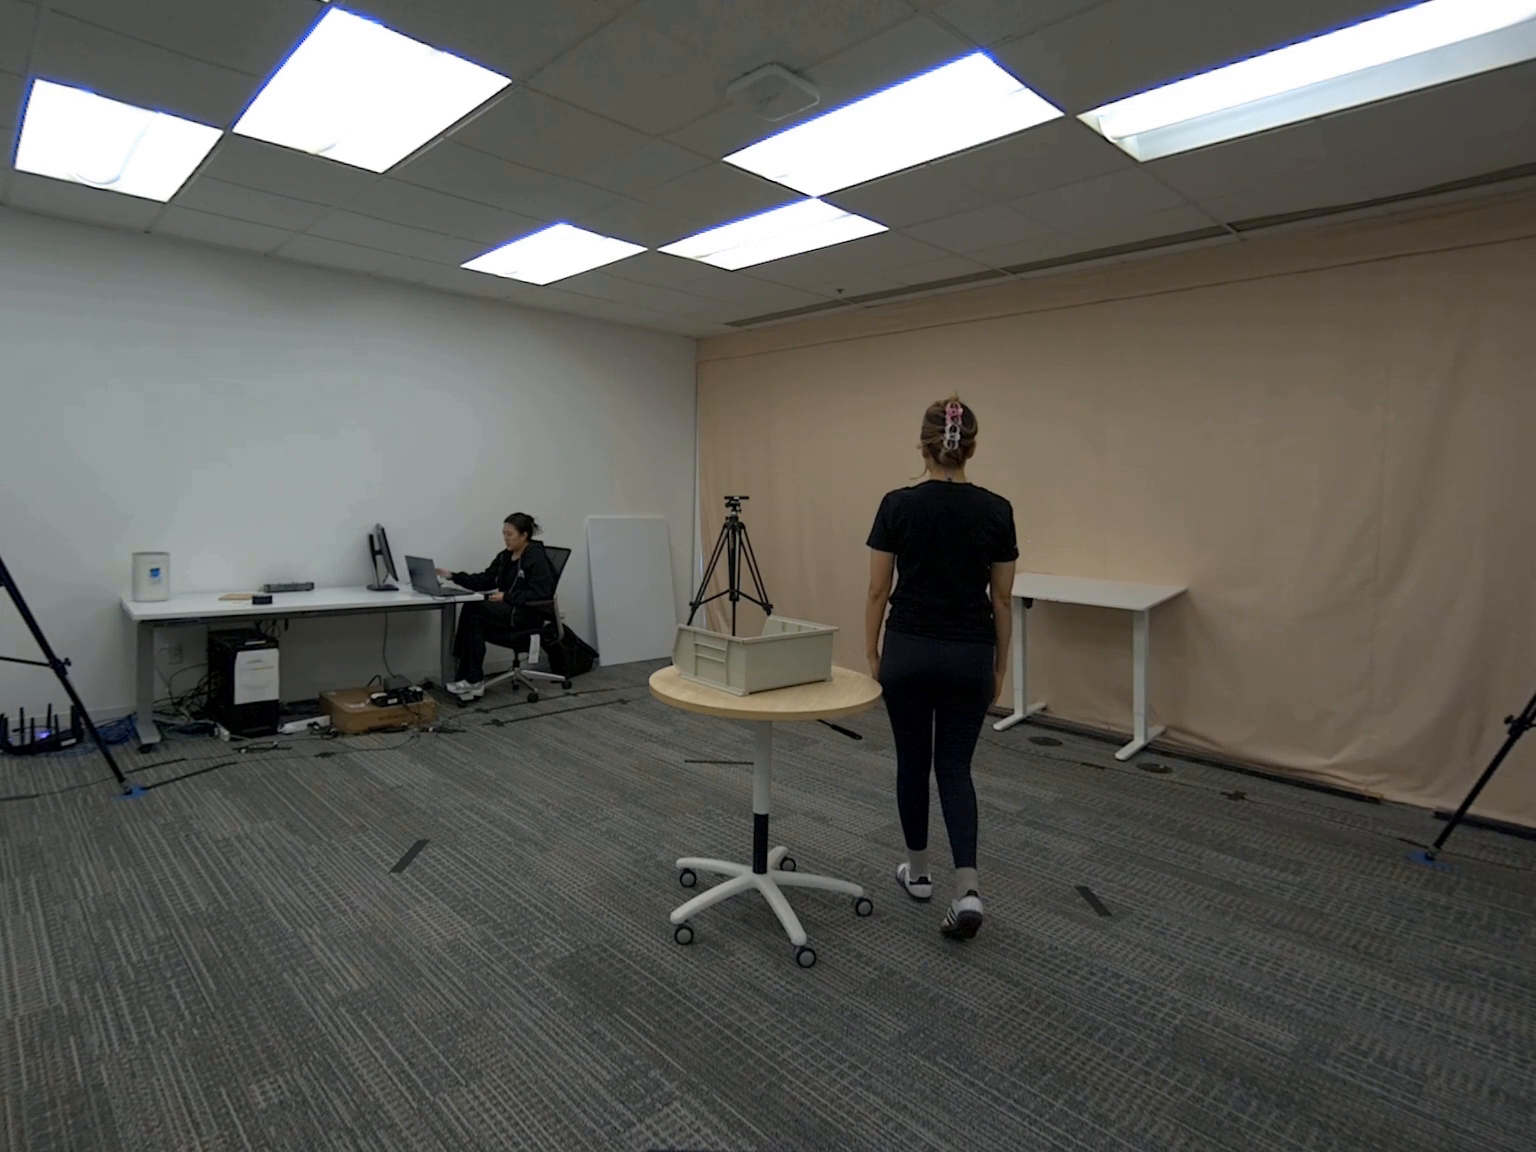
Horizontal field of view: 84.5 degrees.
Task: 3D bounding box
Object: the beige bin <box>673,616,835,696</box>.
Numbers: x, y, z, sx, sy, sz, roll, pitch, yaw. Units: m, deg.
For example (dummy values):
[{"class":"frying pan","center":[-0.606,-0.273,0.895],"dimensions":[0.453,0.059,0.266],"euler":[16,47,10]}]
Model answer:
[{"class":"beige bin","center":[-0.056,0.257,2.827],"dimensions":[0.413,0.188,0.387],"euler":[-2,8,-42]}]
